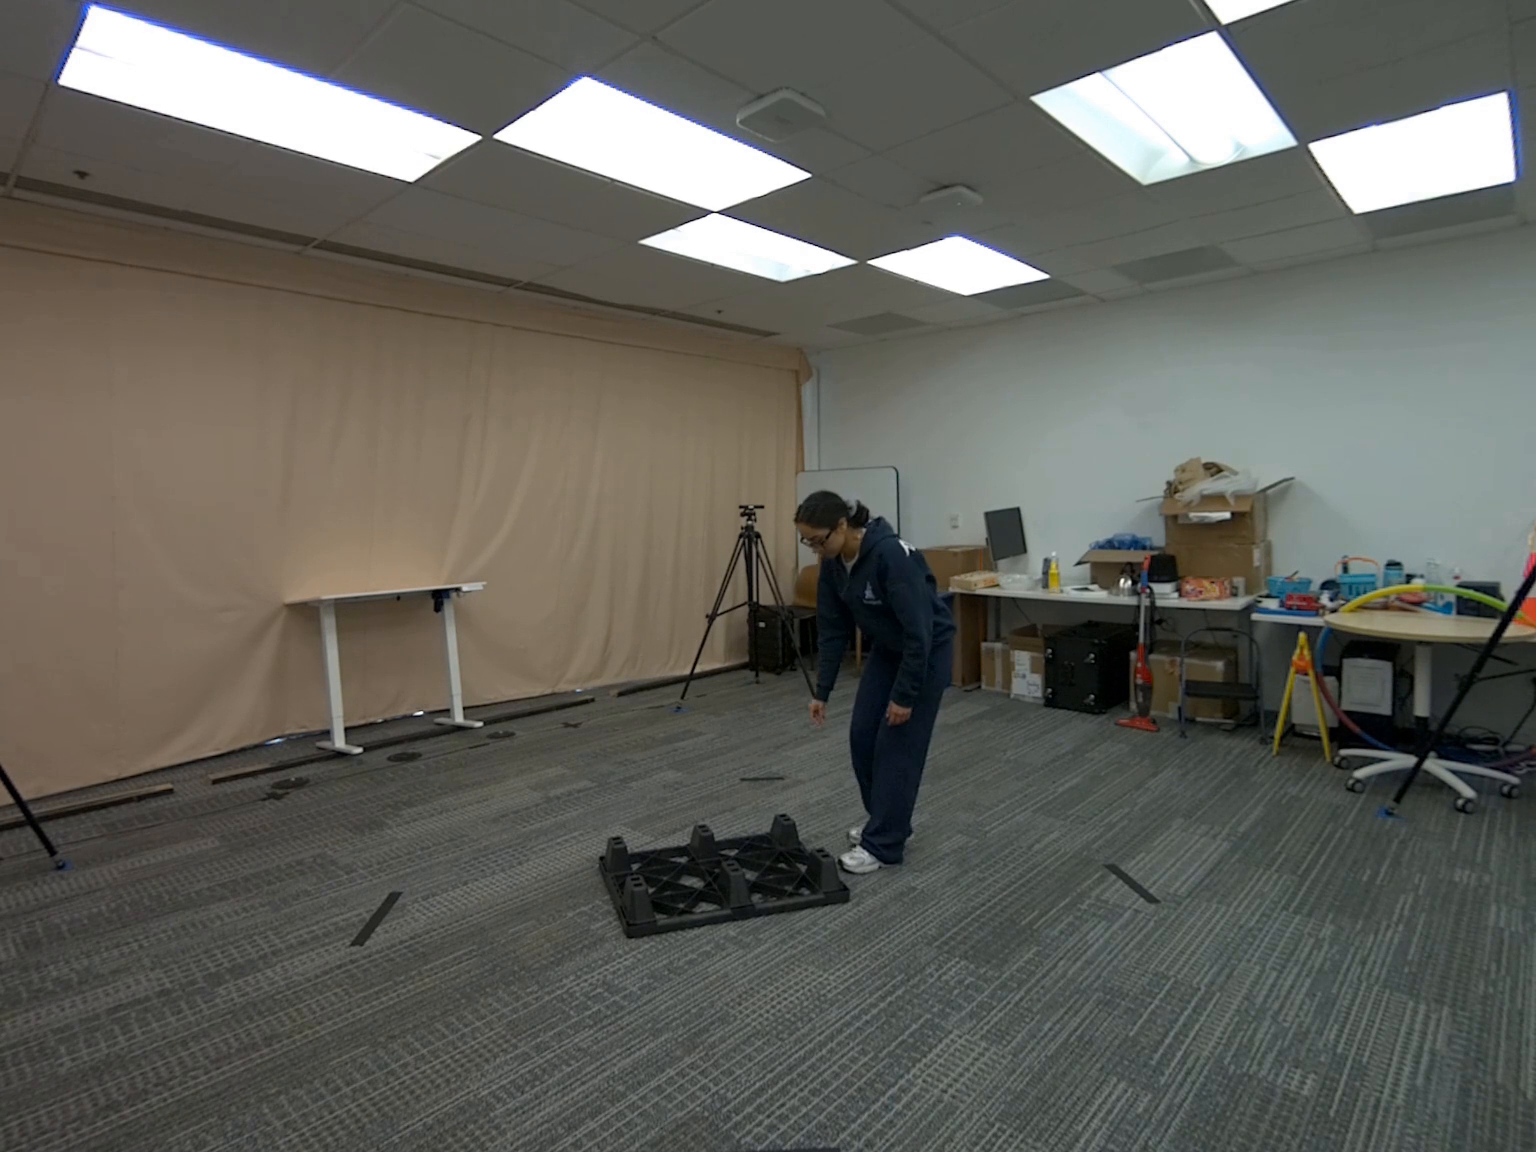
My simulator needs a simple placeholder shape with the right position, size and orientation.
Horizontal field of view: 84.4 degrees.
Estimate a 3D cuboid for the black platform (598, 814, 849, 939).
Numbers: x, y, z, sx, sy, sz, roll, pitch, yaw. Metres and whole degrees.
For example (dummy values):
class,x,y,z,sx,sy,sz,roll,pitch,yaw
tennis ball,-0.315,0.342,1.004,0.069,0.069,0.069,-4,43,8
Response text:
class,x,y,z,sx,sy,sz,roll,pitch,yaw
black platform,-0.185,1.063,3.105,0.791,0.143,0.618,-3,5,-19
